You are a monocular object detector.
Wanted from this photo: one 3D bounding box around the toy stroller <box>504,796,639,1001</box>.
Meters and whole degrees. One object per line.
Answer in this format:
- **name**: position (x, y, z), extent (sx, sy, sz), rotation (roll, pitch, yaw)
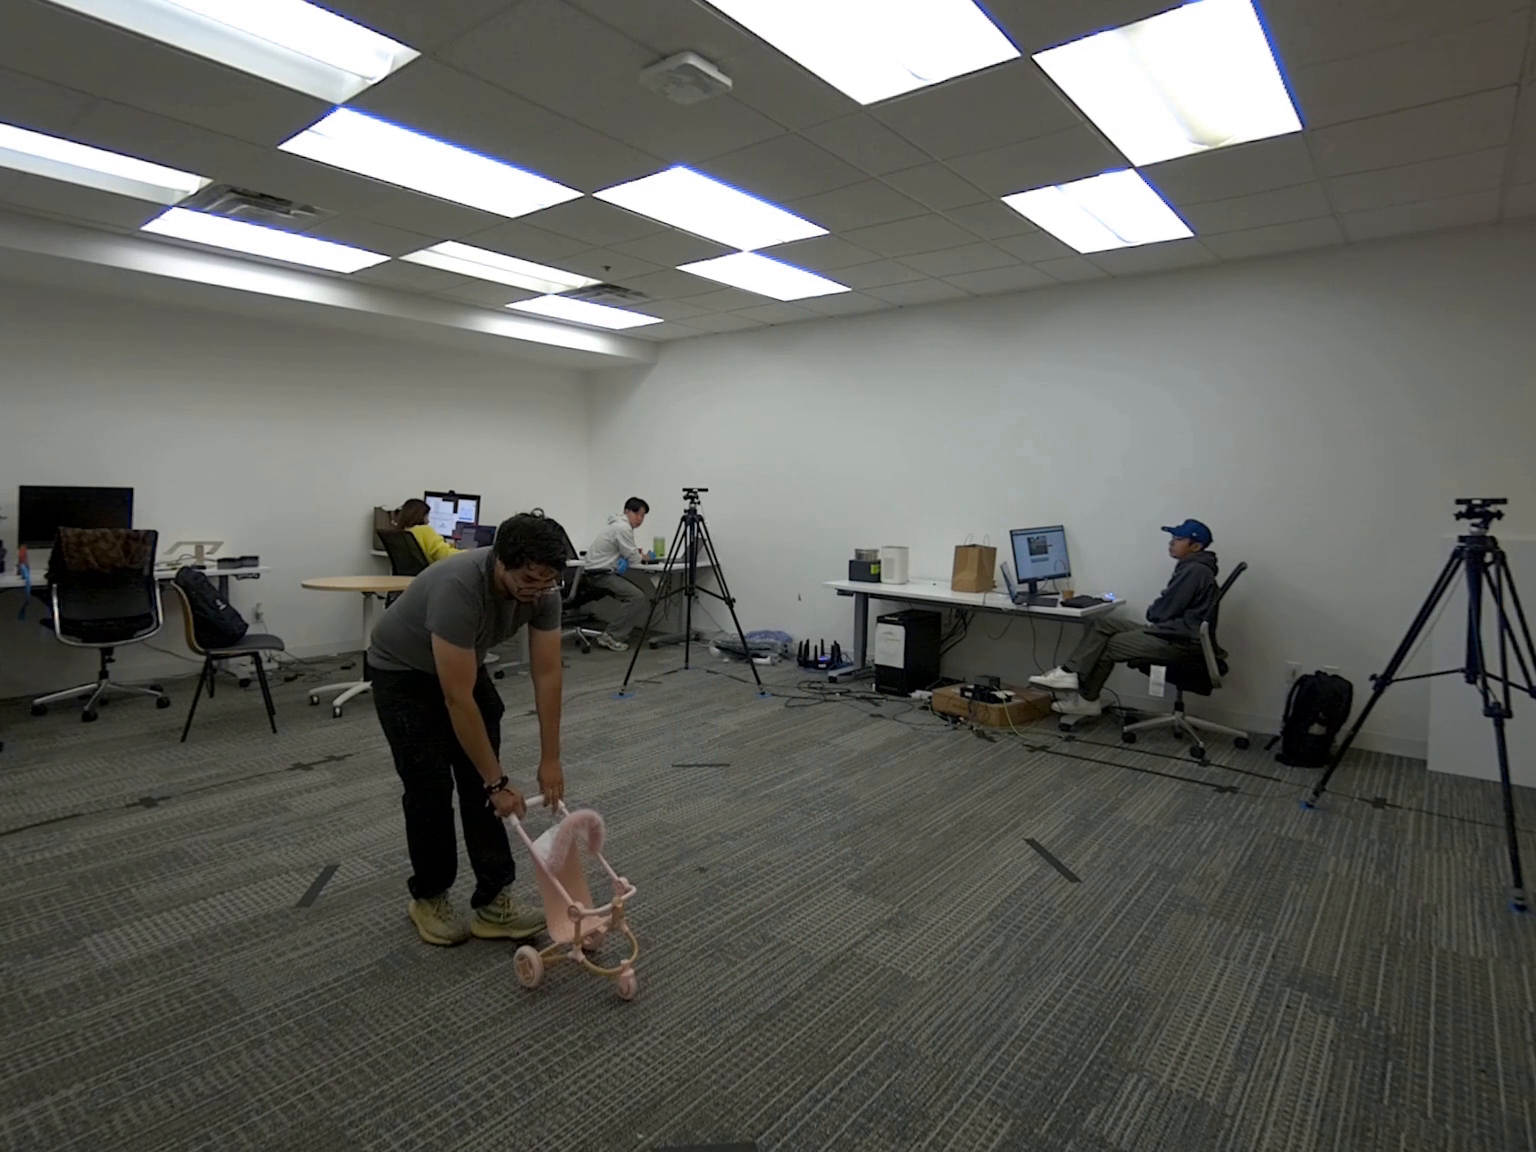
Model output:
- **toy stroller**: position (-0.539, 0.903, 2.401), extent (0.349, 0.538, 0.273), rotation (-12, -6, 36)
